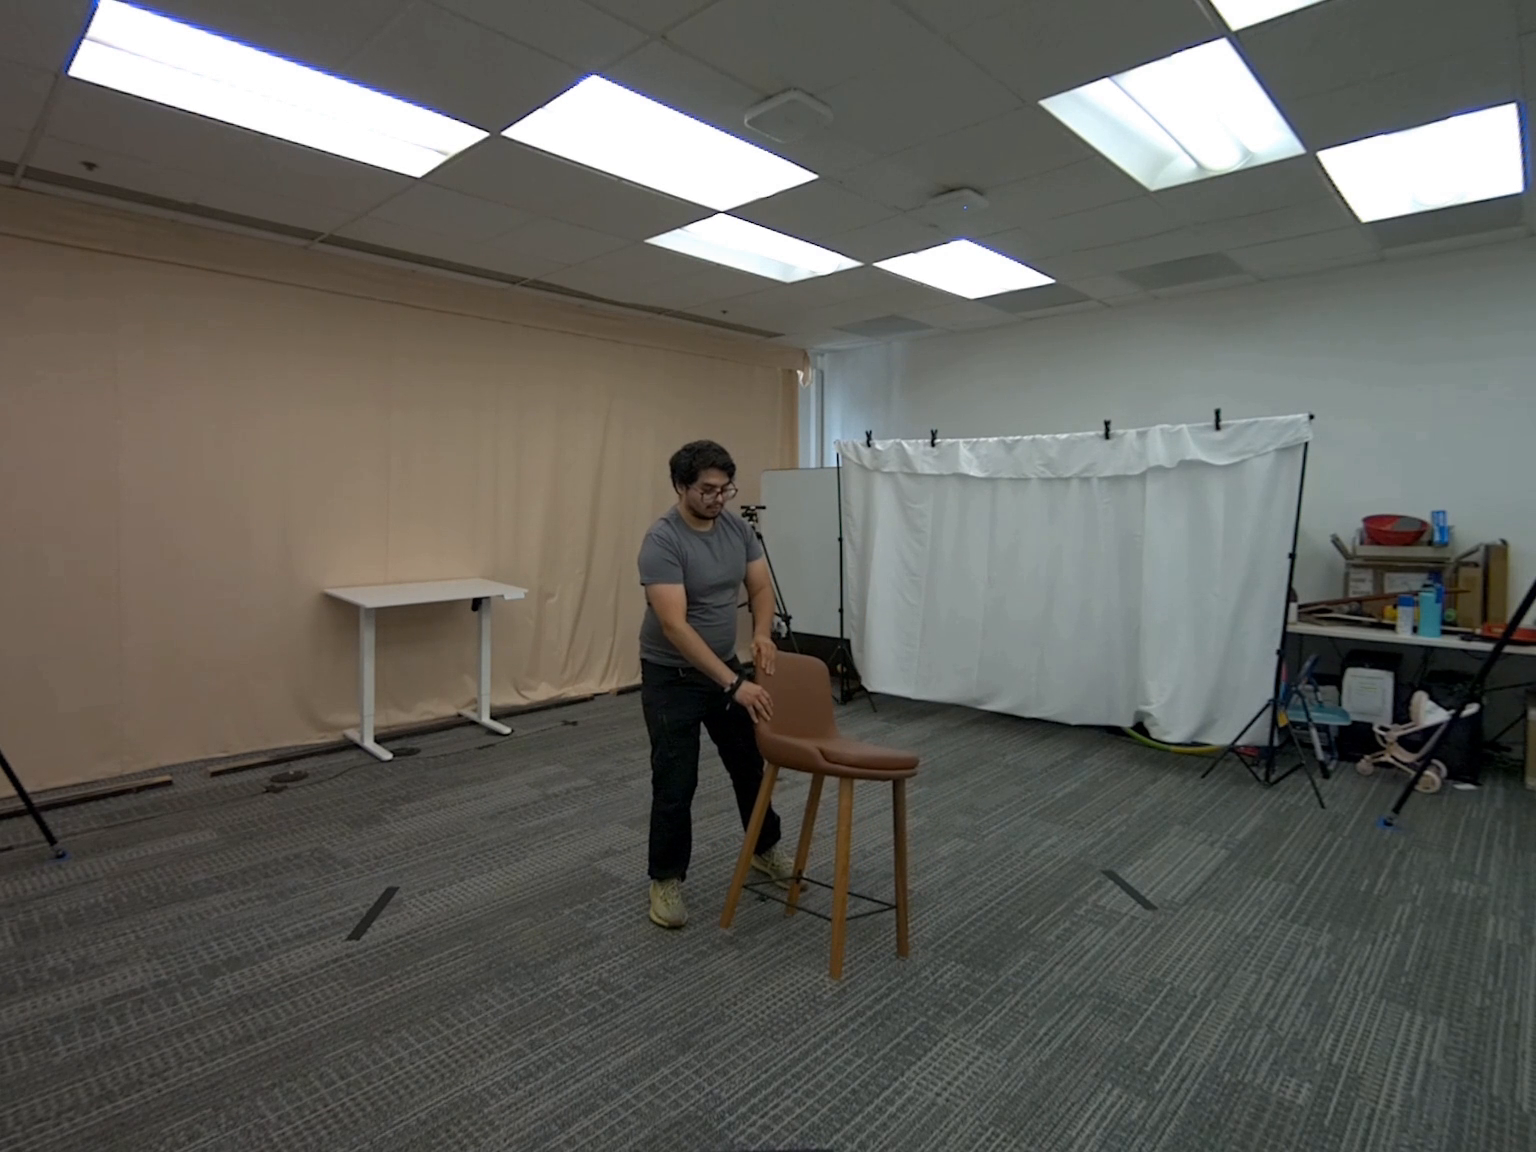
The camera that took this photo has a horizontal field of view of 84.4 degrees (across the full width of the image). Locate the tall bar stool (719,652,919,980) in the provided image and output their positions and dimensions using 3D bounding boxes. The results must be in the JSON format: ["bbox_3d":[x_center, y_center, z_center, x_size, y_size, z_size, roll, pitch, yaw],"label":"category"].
[{"bbox_3d":[0.192,0.706,2.657,0.482,0.893,0.440,-1,-11,40],"label":"tall bar stool"}]
